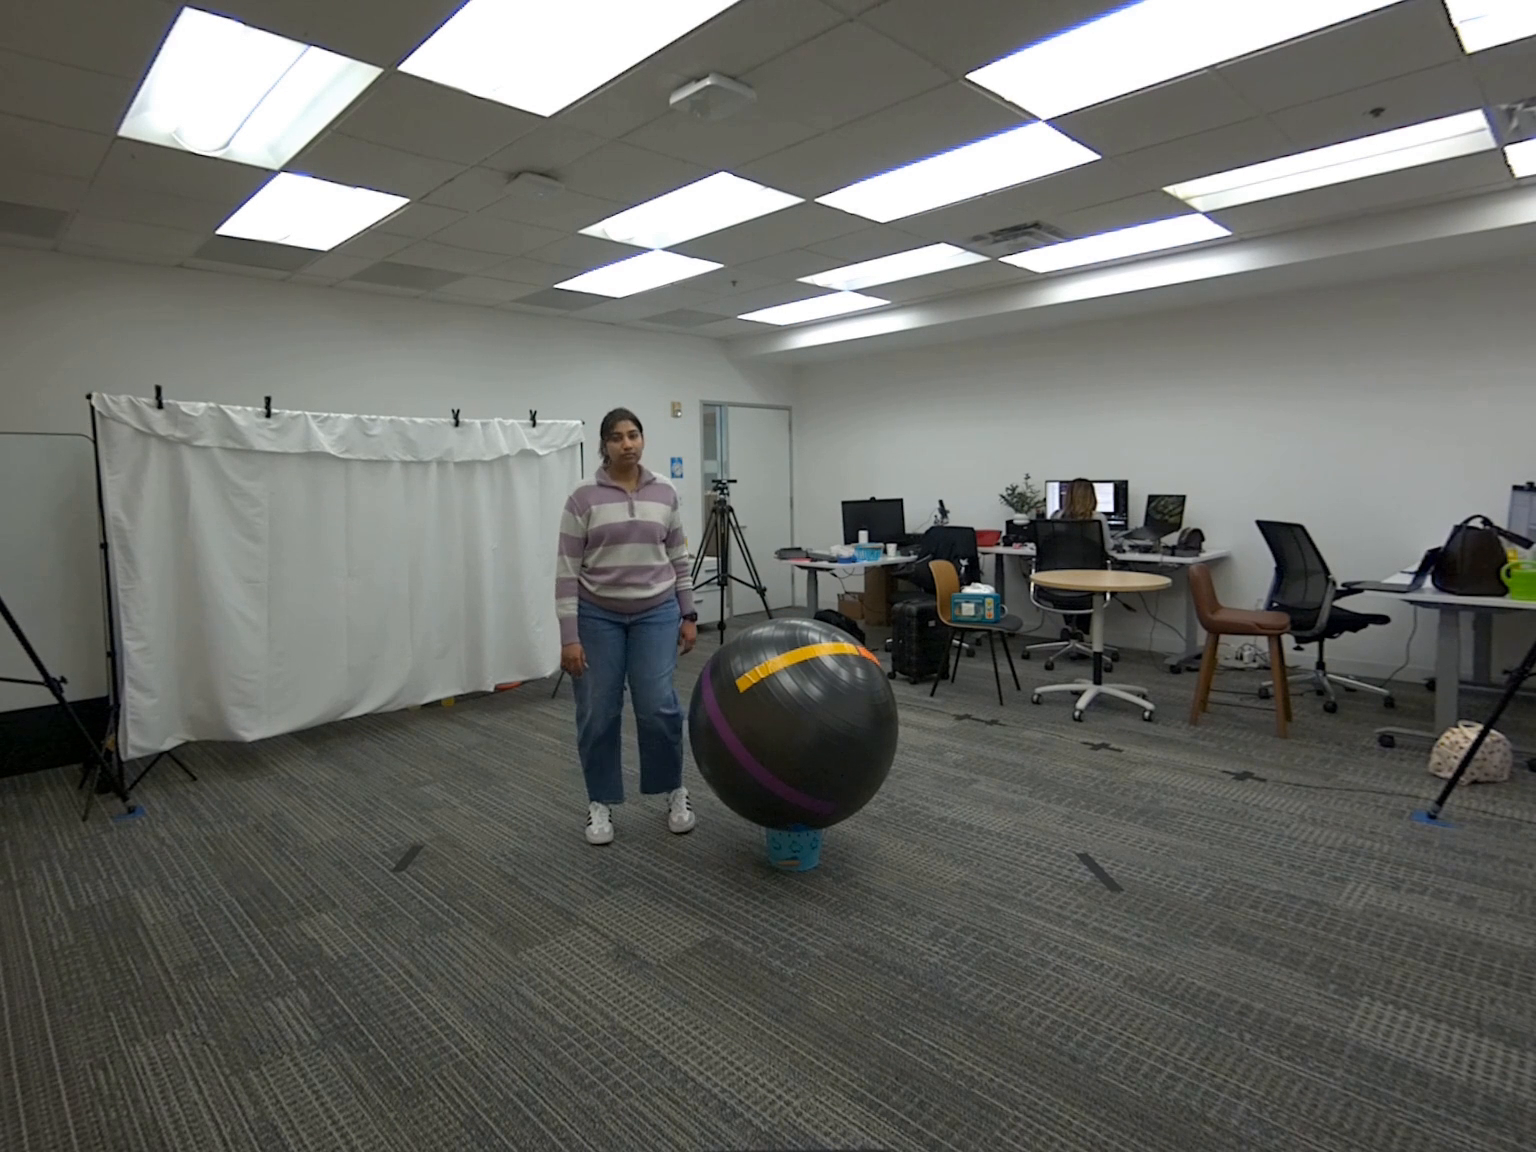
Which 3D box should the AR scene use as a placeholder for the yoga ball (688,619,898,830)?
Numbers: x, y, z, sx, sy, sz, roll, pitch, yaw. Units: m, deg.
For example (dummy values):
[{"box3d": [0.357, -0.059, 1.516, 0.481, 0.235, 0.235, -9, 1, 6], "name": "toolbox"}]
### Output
[{"box3d": [0.091, 0.533, 3.106, 0.757, 0.755, 0.762, -1, 5, -2], "name": "yoga ball"}]
